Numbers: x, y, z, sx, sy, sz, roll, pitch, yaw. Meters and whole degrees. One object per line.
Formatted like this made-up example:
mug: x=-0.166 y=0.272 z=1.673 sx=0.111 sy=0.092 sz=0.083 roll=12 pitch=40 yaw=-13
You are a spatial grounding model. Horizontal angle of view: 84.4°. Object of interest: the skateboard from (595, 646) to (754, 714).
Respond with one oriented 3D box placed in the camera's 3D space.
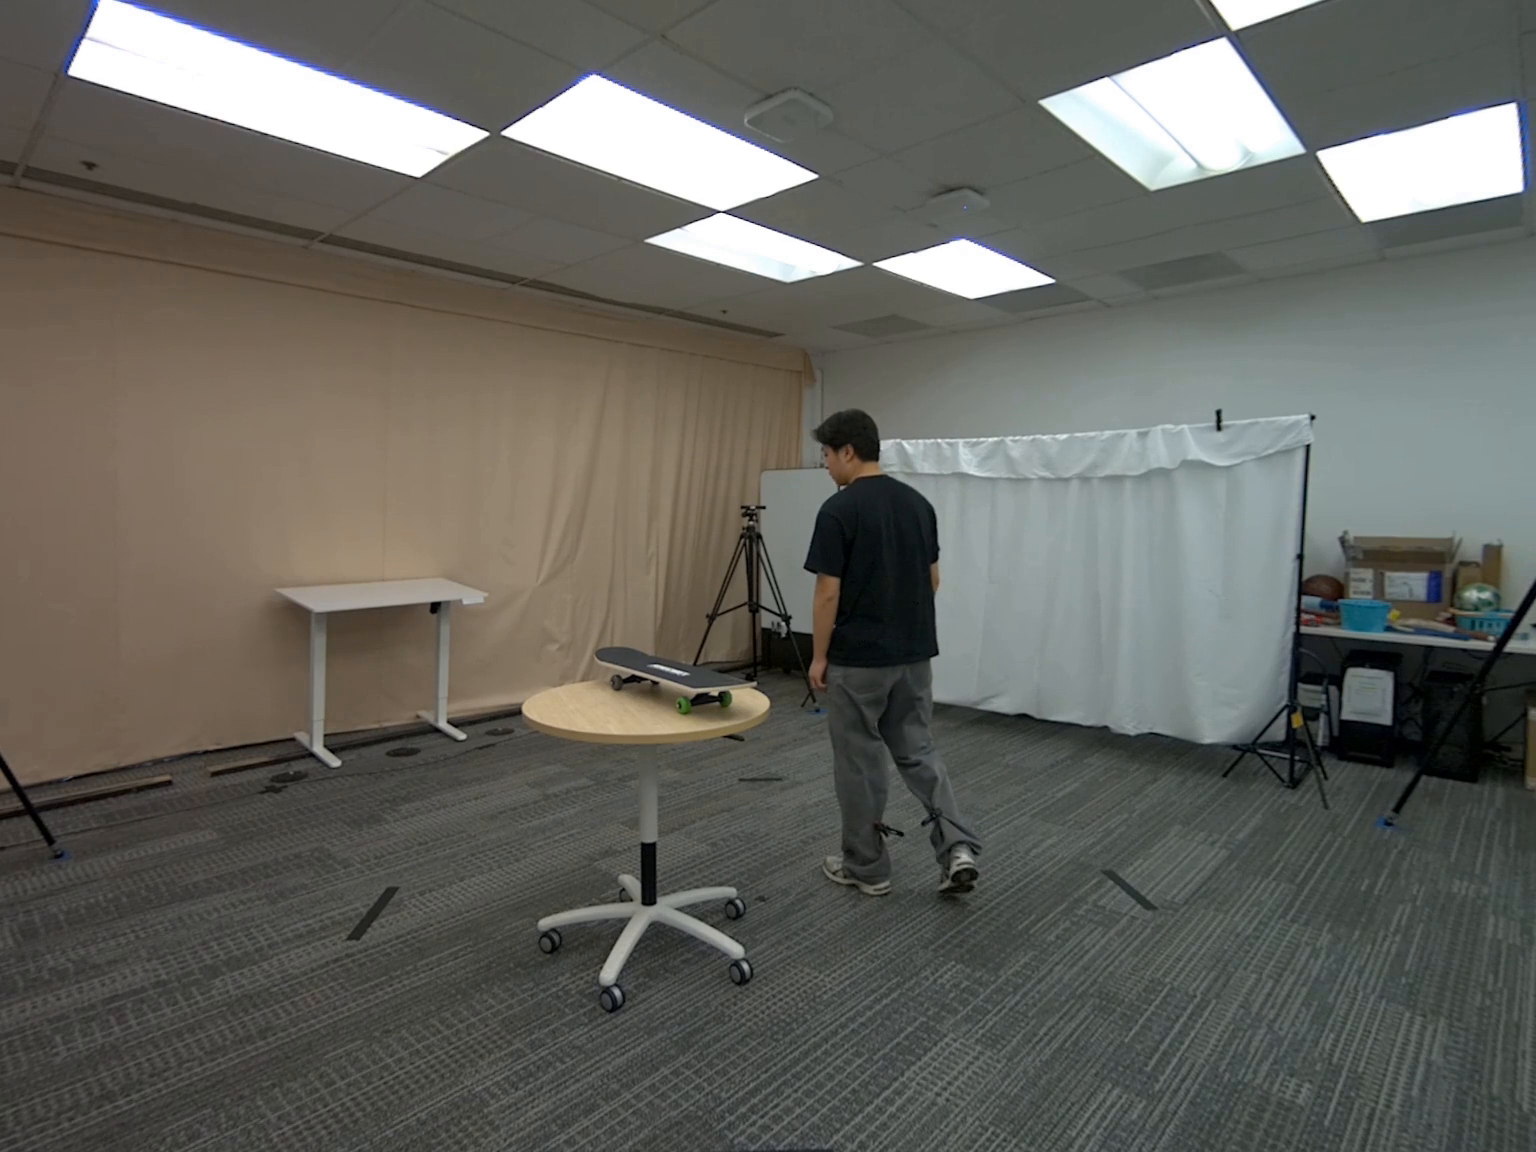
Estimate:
skateboard: x=-0.313 y=0.336 z=2.689 sx=0.188 sy=0.110 sz=0.811 roll=-4 pitch=6 yaw=-38
